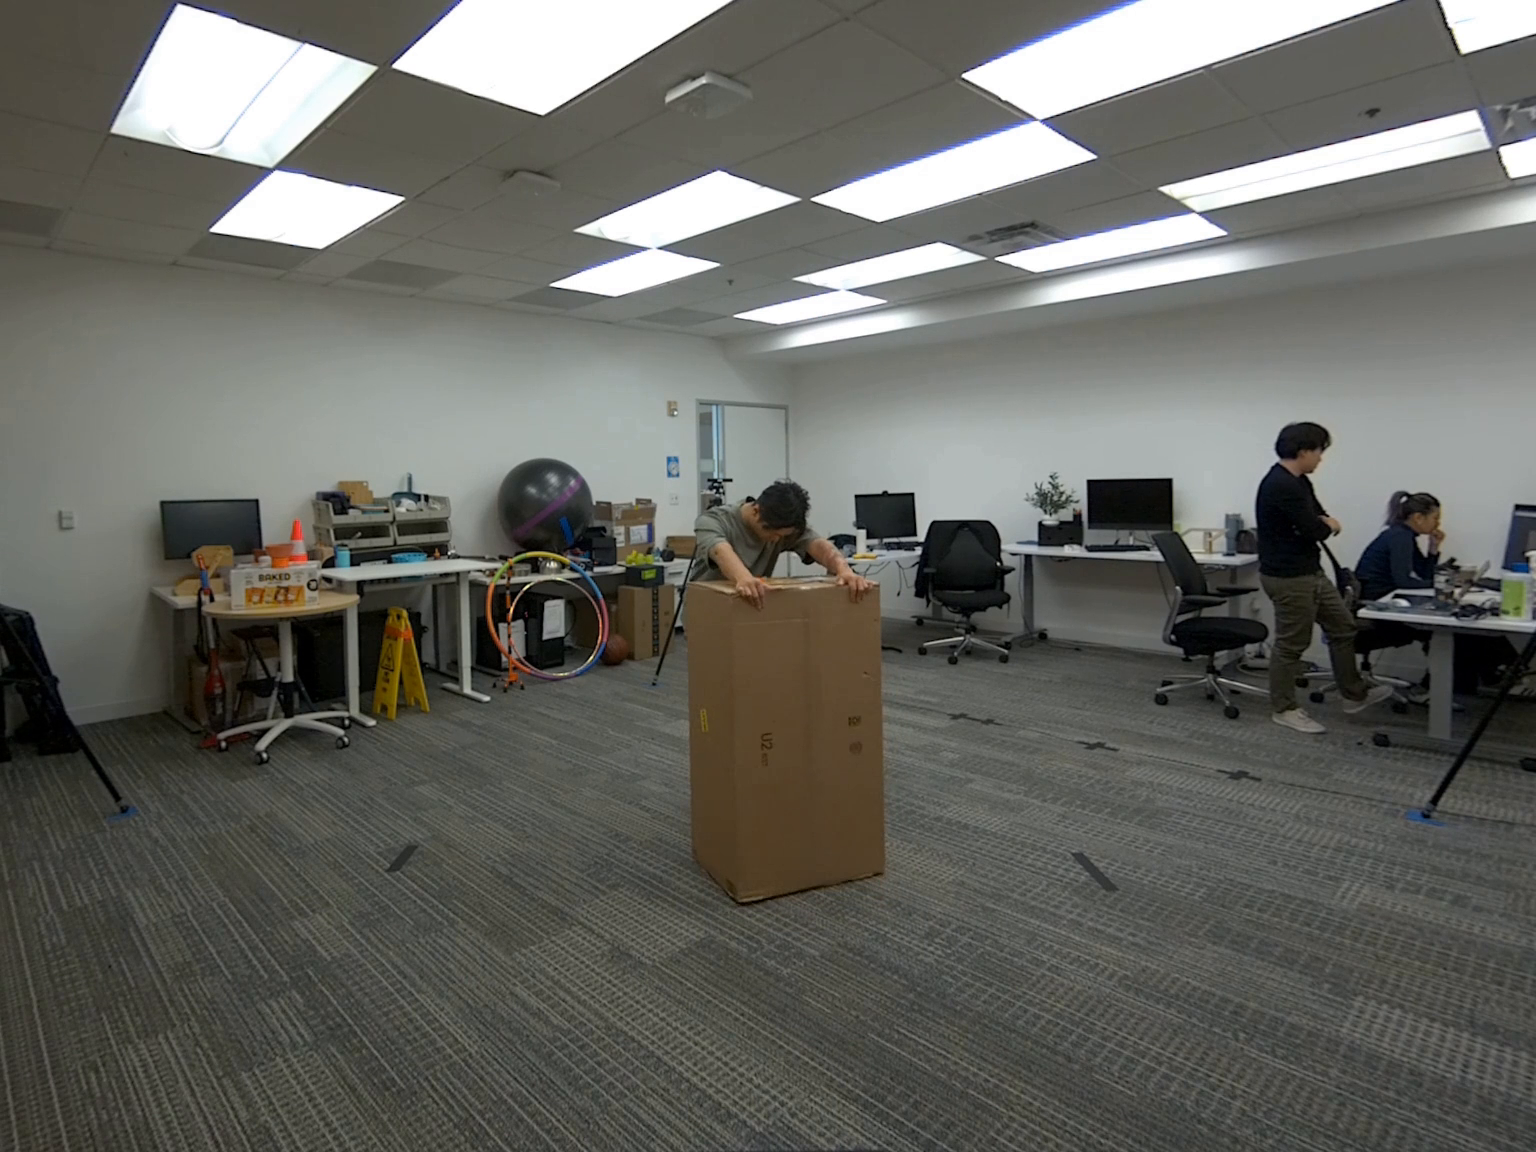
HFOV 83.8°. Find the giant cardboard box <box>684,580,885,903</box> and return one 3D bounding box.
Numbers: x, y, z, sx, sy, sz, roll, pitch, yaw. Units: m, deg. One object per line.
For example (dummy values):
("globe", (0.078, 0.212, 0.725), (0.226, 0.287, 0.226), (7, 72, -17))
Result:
("giant cardboard box", (0.056, 0.531, 3.075), (0.566, 1.024, 0.436), (-2, 3, -24))
